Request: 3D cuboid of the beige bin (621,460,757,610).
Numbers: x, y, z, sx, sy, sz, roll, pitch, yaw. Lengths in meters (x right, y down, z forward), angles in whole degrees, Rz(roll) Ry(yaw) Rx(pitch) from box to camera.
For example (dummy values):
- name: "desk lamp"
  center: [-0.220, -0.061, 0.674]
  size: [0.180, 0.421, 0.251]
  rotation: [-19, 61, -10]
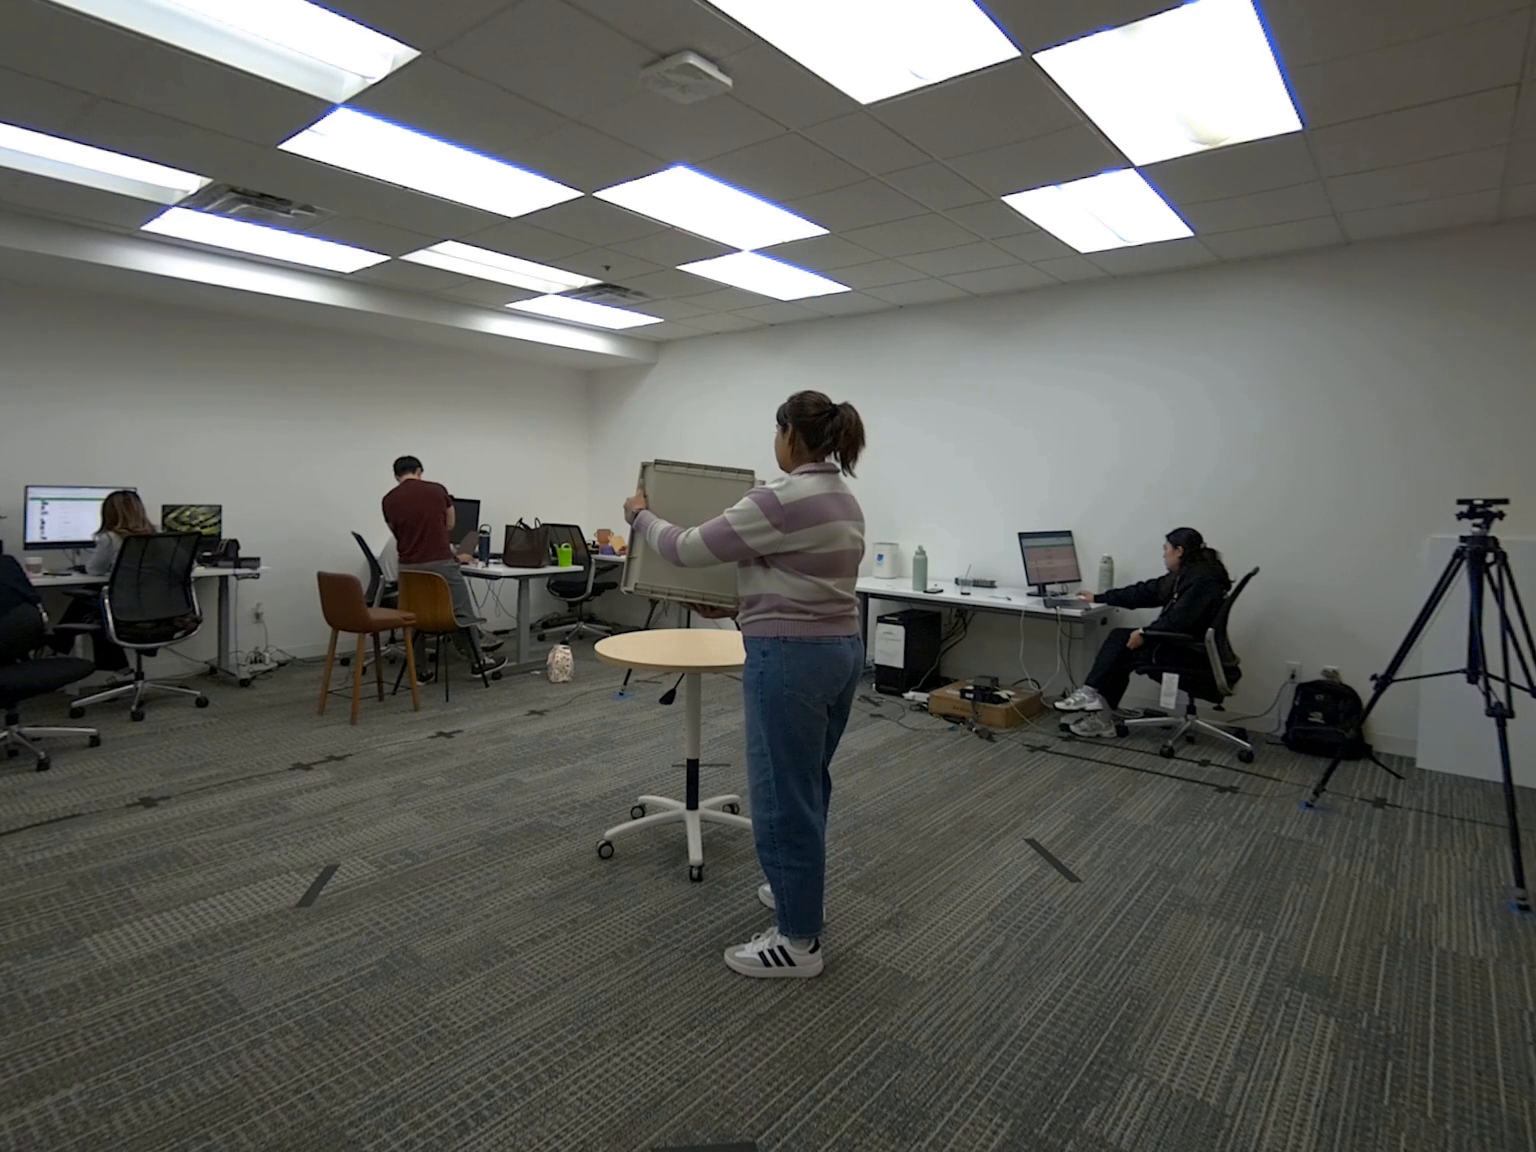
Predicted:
- name: "beige bin"
  center: [-0.239, -0.131, 2.630]
  size: [0.383, 0.425, 0.185]
  rotation: [7, -7, 12]
